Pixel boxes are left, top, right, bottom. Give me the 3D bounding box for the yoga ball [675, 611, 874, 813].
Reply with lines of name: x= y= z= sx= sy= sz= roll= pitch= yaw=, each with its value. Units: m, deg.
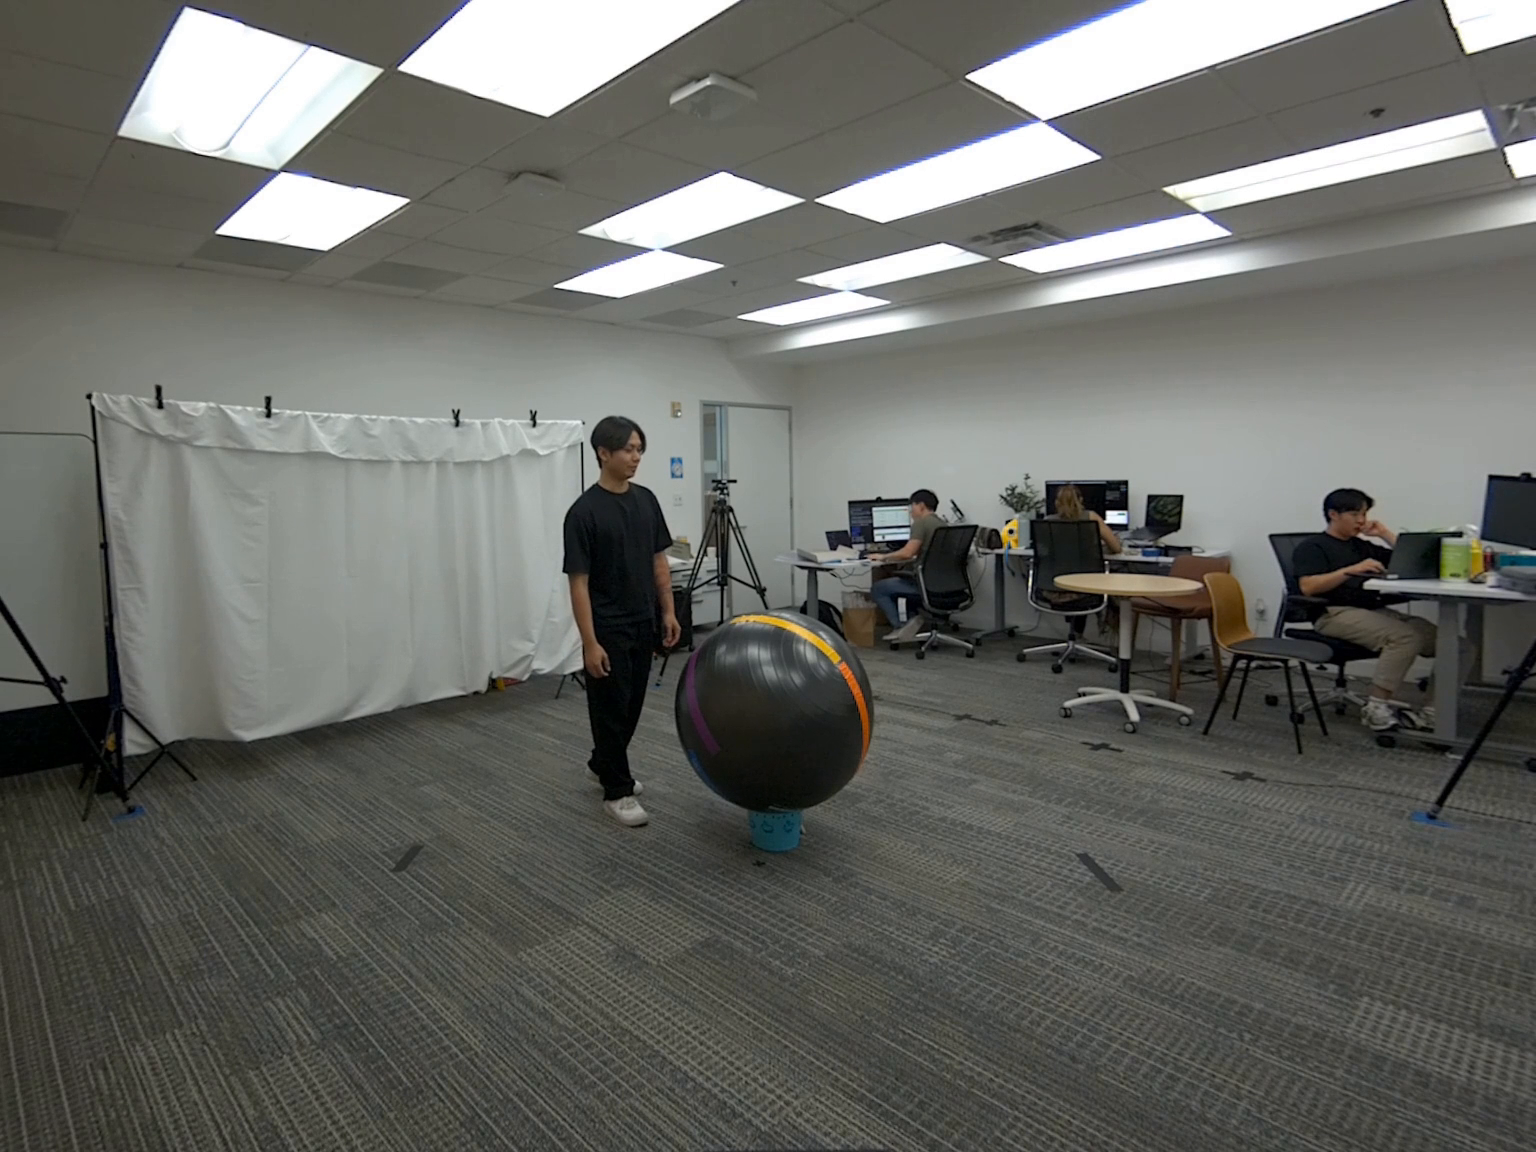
yoga ball: x=0.027 y=0.515 z=3.276 sx=0.757 sy=0.755 sz=0.762 roll=-1 pitch=5 yaw=-2
